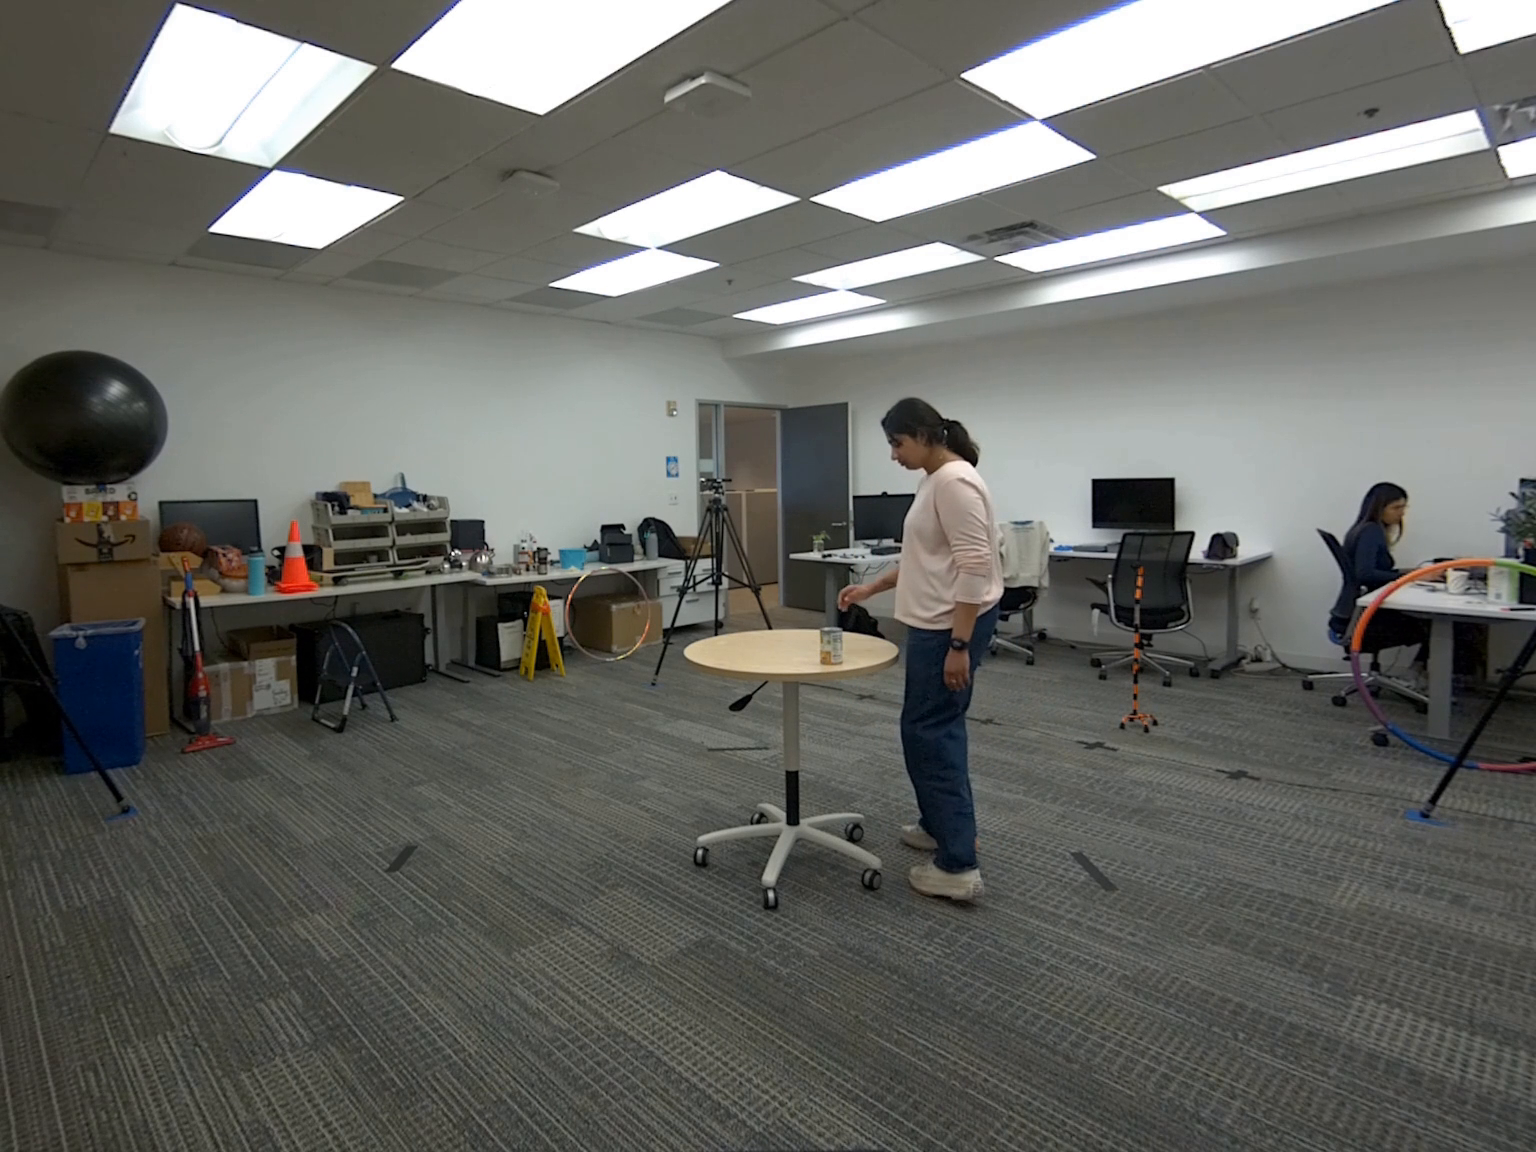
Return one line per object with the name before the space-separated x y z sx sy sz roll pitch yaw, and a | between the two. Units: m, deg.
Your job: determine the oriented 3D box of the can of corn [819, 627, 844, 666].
can of corn | 0.219 0.229 2.833 0.074 0.110 0.074 0 5 -2
